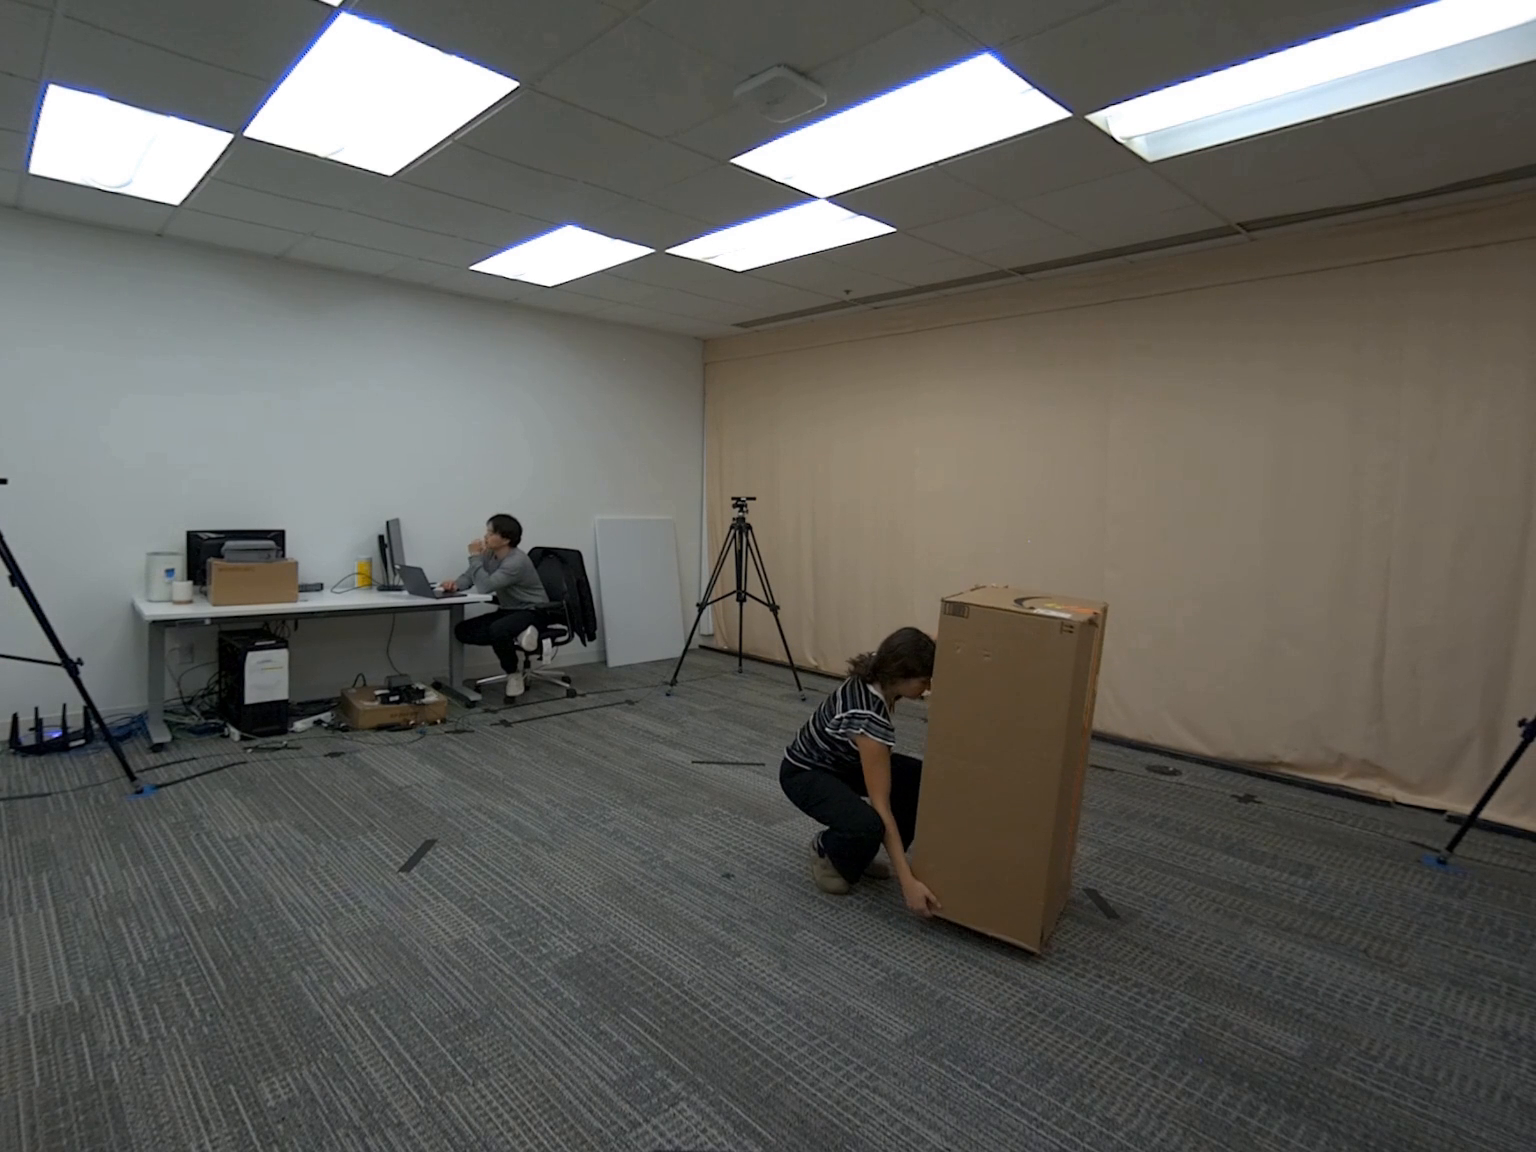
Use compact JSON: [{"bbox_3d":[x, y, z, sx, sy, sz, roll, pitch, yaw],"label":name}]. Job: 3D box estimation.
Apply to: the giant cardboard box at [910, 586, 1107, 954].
[{"bbox_3d":[0.814,0.577,2.830,0.436,1.022,0.566,8,6,30],"label":"giant cardboard box"}]
